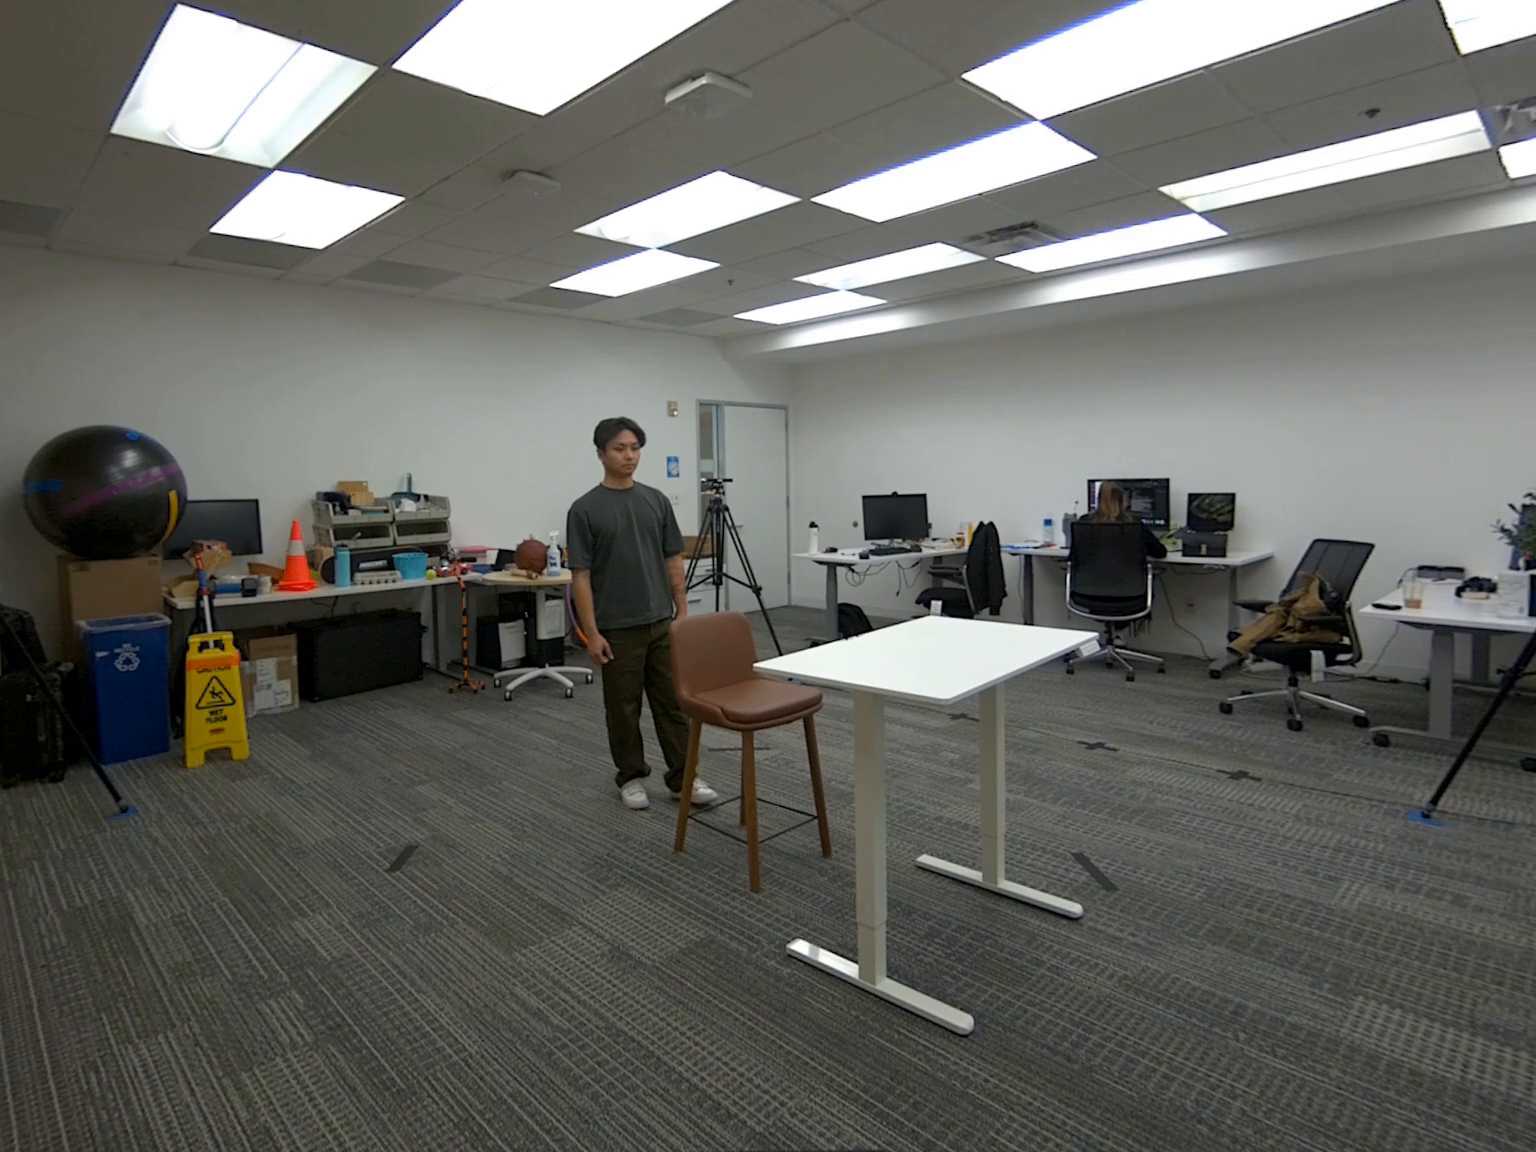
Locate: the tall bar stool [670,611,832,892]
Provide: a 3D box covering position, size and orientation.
[{"bbox_3d":[-0.077,0.601,3.170,0.444,0.888,0.481,-4,3,-44],"label":"tall bar stool"}]
